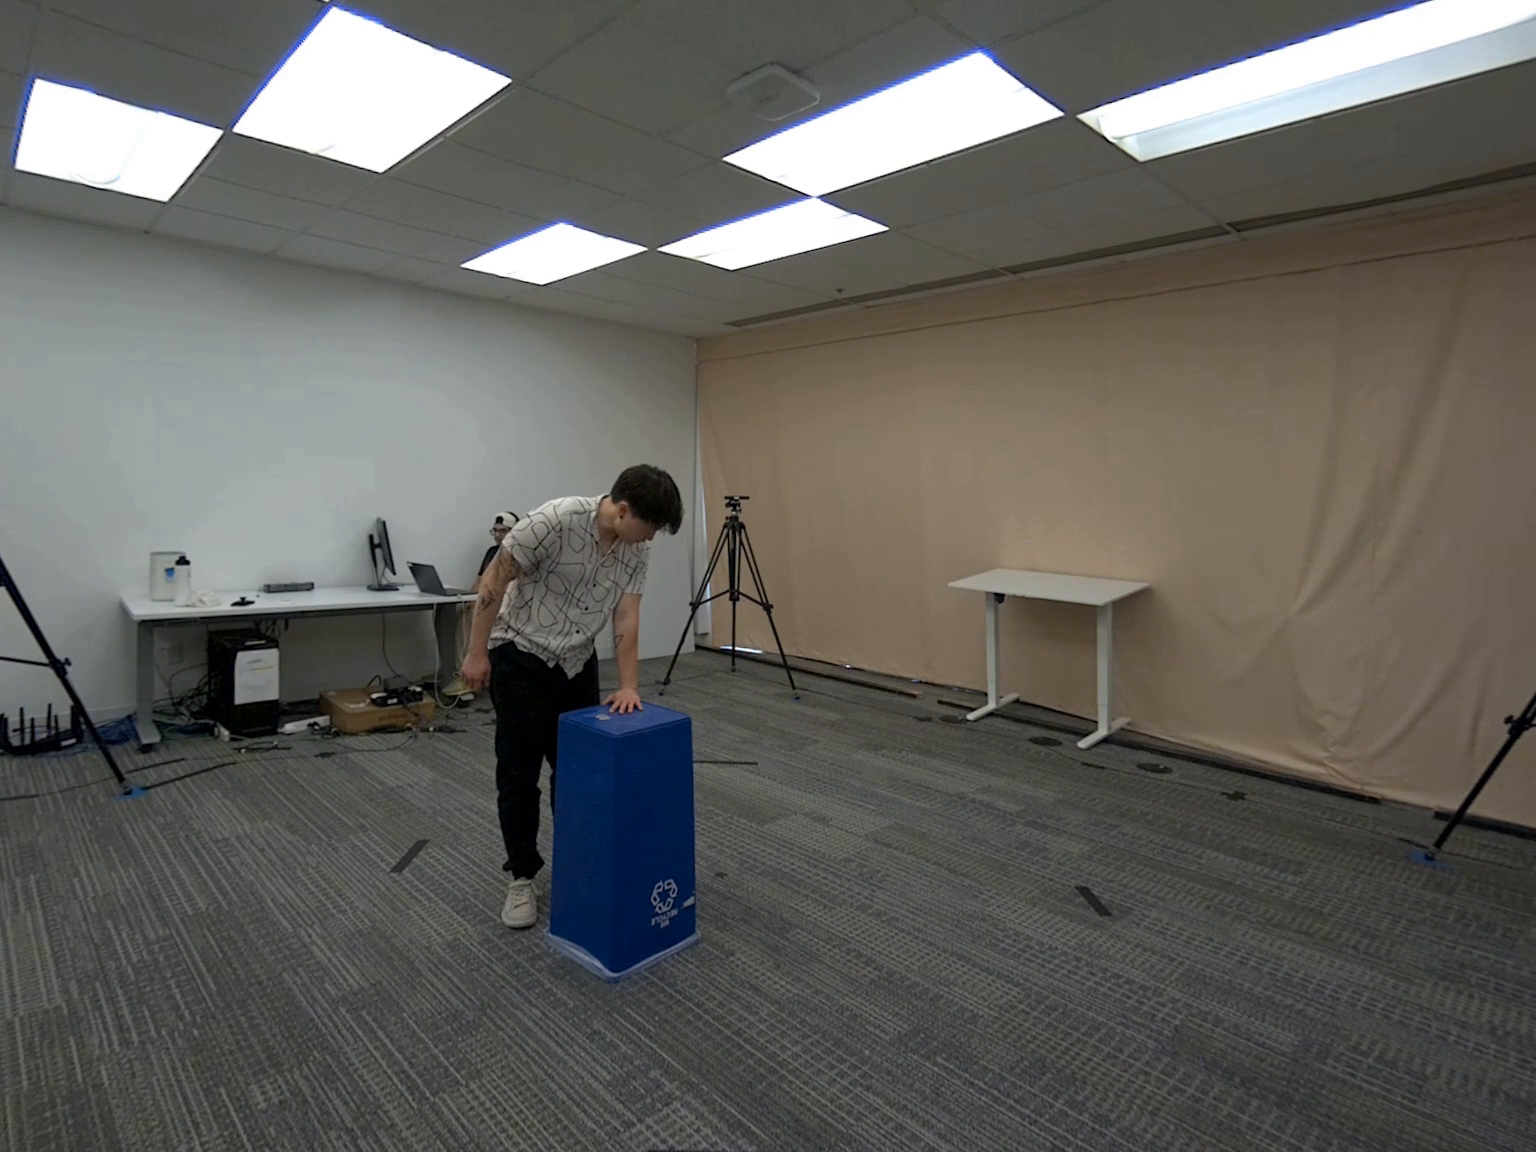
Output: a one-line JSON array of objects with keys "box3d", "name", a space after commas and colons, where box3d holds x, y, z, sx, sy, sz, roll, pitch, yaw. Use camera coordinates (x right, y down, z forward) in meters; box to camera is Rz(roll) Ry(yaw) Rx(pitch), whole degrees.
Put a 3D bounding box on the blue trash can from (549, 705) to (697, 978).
[{"box3d": [-0.465, 0.789, 2.620, 0.387, 0.712, 0.366, 3, 5, 44], "name": "blue trash can"}]
